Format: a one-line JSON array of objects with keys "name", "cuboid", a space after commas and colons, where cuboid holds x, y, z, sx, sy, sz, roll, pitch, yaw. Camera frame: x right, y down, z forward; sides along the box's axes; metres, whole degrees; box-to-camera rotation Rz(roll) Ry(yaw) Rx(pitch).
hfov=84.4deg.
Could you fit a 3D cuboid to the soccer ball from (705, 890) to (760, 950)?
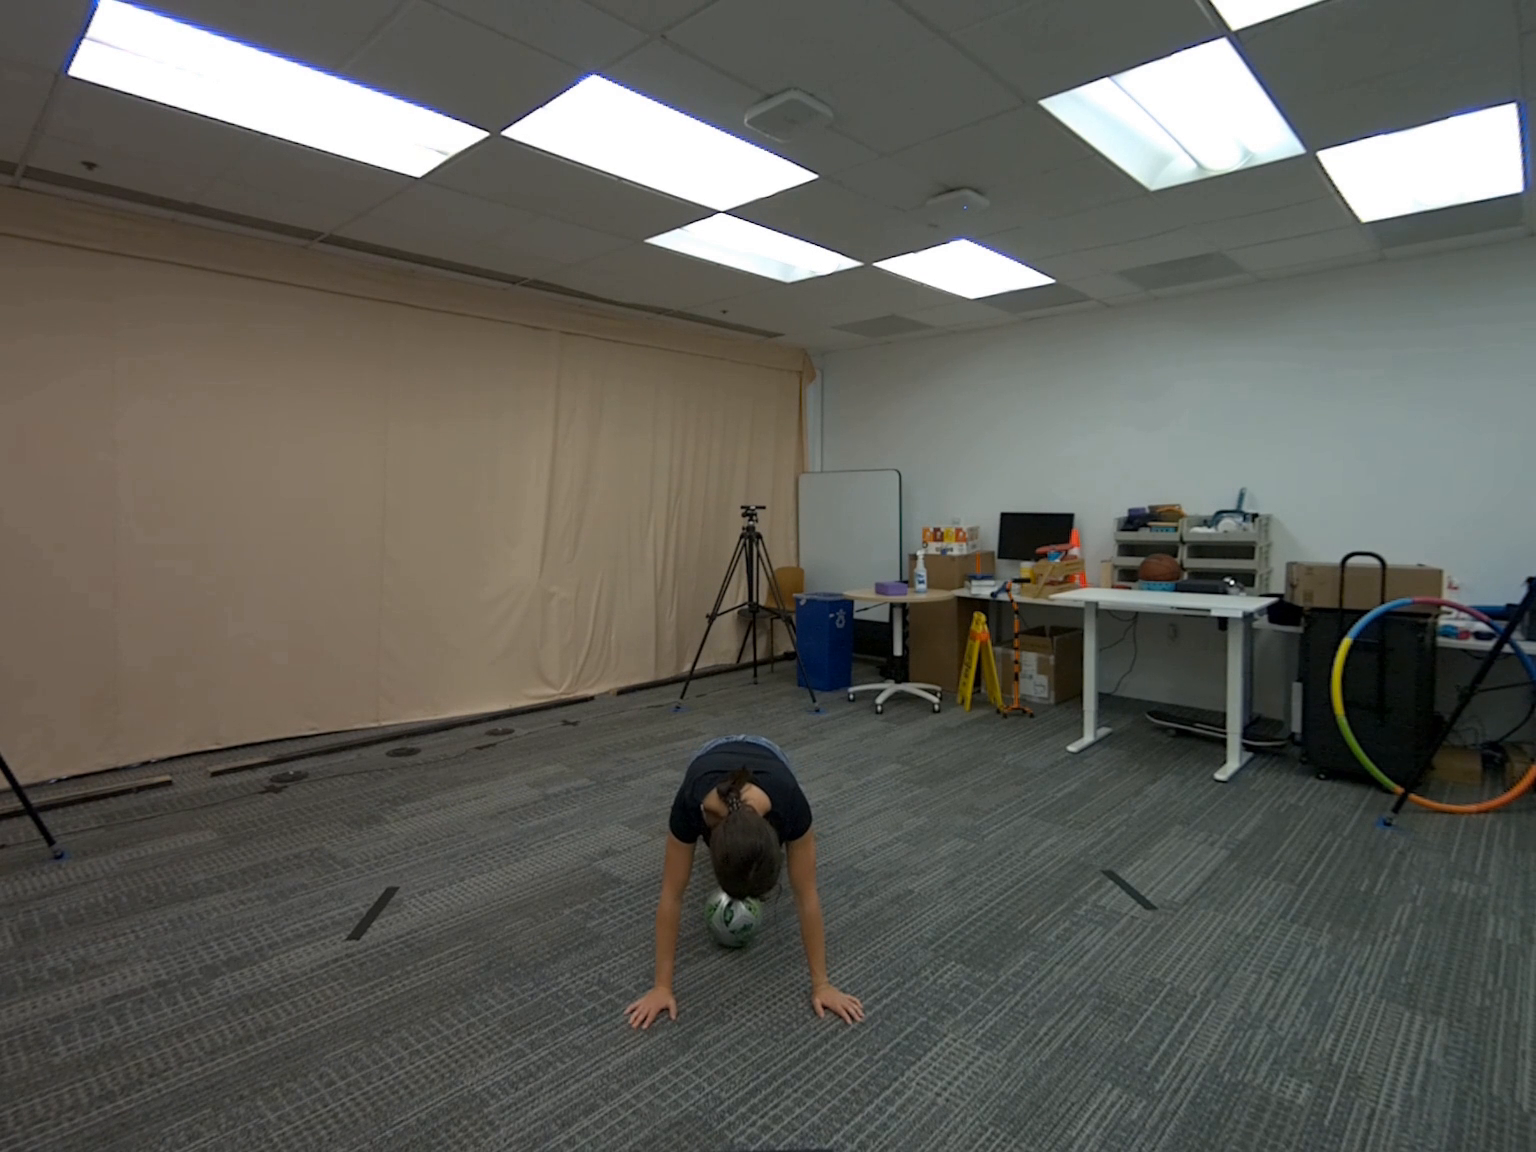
[{"name": "soccer ball", "cuboid": [-0.107, 1.078, 2.675, 0.187, 0.187, 0.188, 0, 4, -2]}]
